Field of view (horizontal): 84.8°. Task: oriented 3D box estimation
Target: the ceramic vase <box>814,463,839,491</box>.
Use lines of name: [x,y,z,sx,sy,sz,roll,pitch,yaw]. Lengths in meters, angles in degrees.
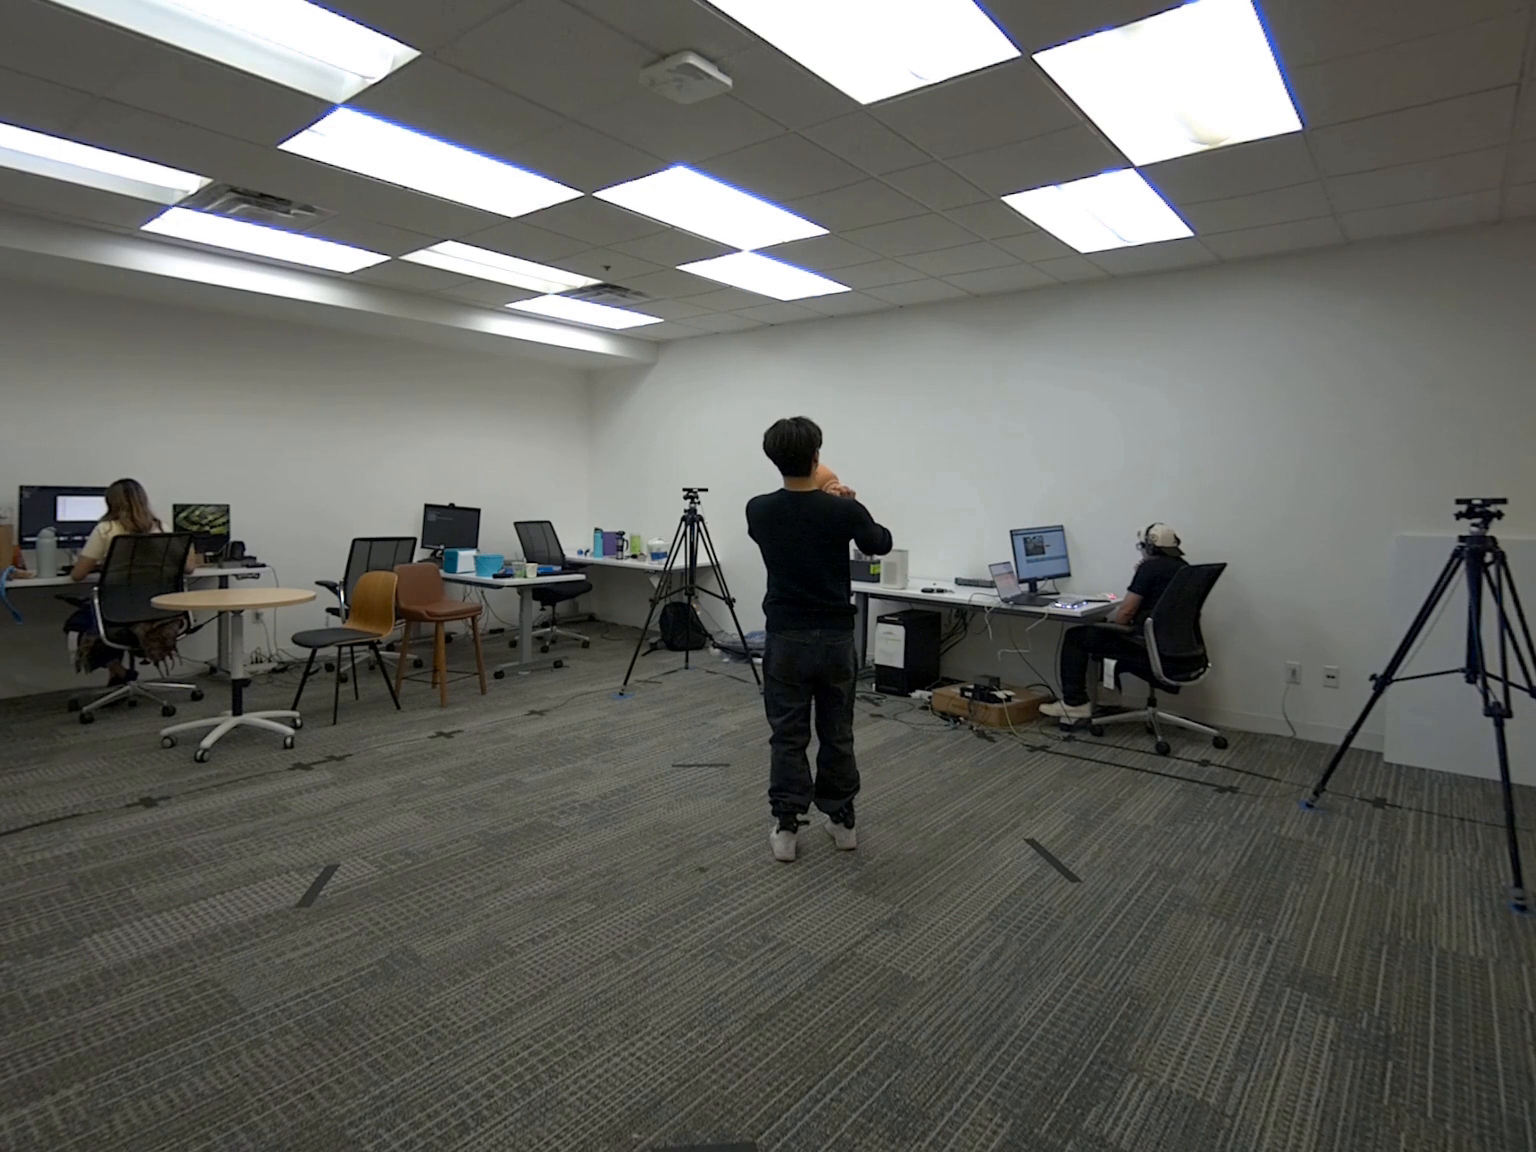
ceramic vase: [0.242,-0.389,3.655,0.154,0.133,0.229,-2,34,-40]
